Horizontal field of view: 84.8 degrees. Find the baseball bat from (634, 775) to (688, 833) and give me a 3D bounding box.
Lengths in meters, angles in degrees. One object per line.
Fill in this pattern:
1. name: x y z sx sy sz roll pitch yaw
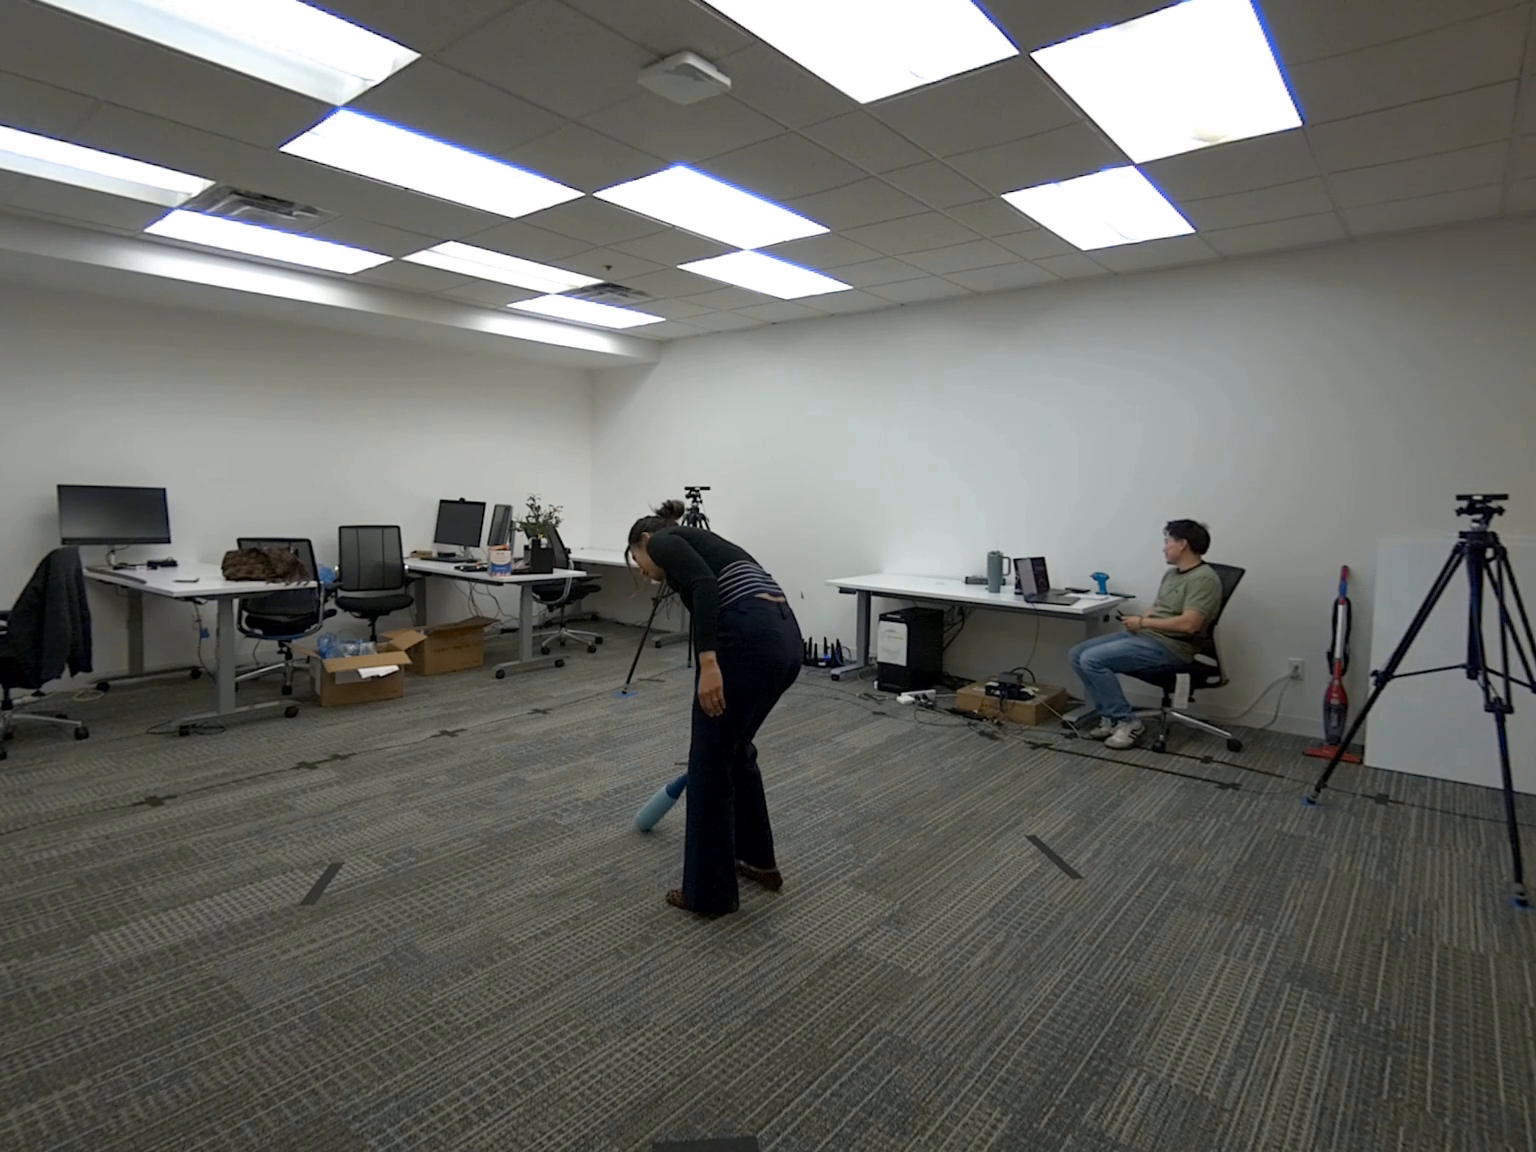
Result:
1. baseball bat: -0.376 0.833 3.328 0.086 0.092 0.542 -4 -37 -50
